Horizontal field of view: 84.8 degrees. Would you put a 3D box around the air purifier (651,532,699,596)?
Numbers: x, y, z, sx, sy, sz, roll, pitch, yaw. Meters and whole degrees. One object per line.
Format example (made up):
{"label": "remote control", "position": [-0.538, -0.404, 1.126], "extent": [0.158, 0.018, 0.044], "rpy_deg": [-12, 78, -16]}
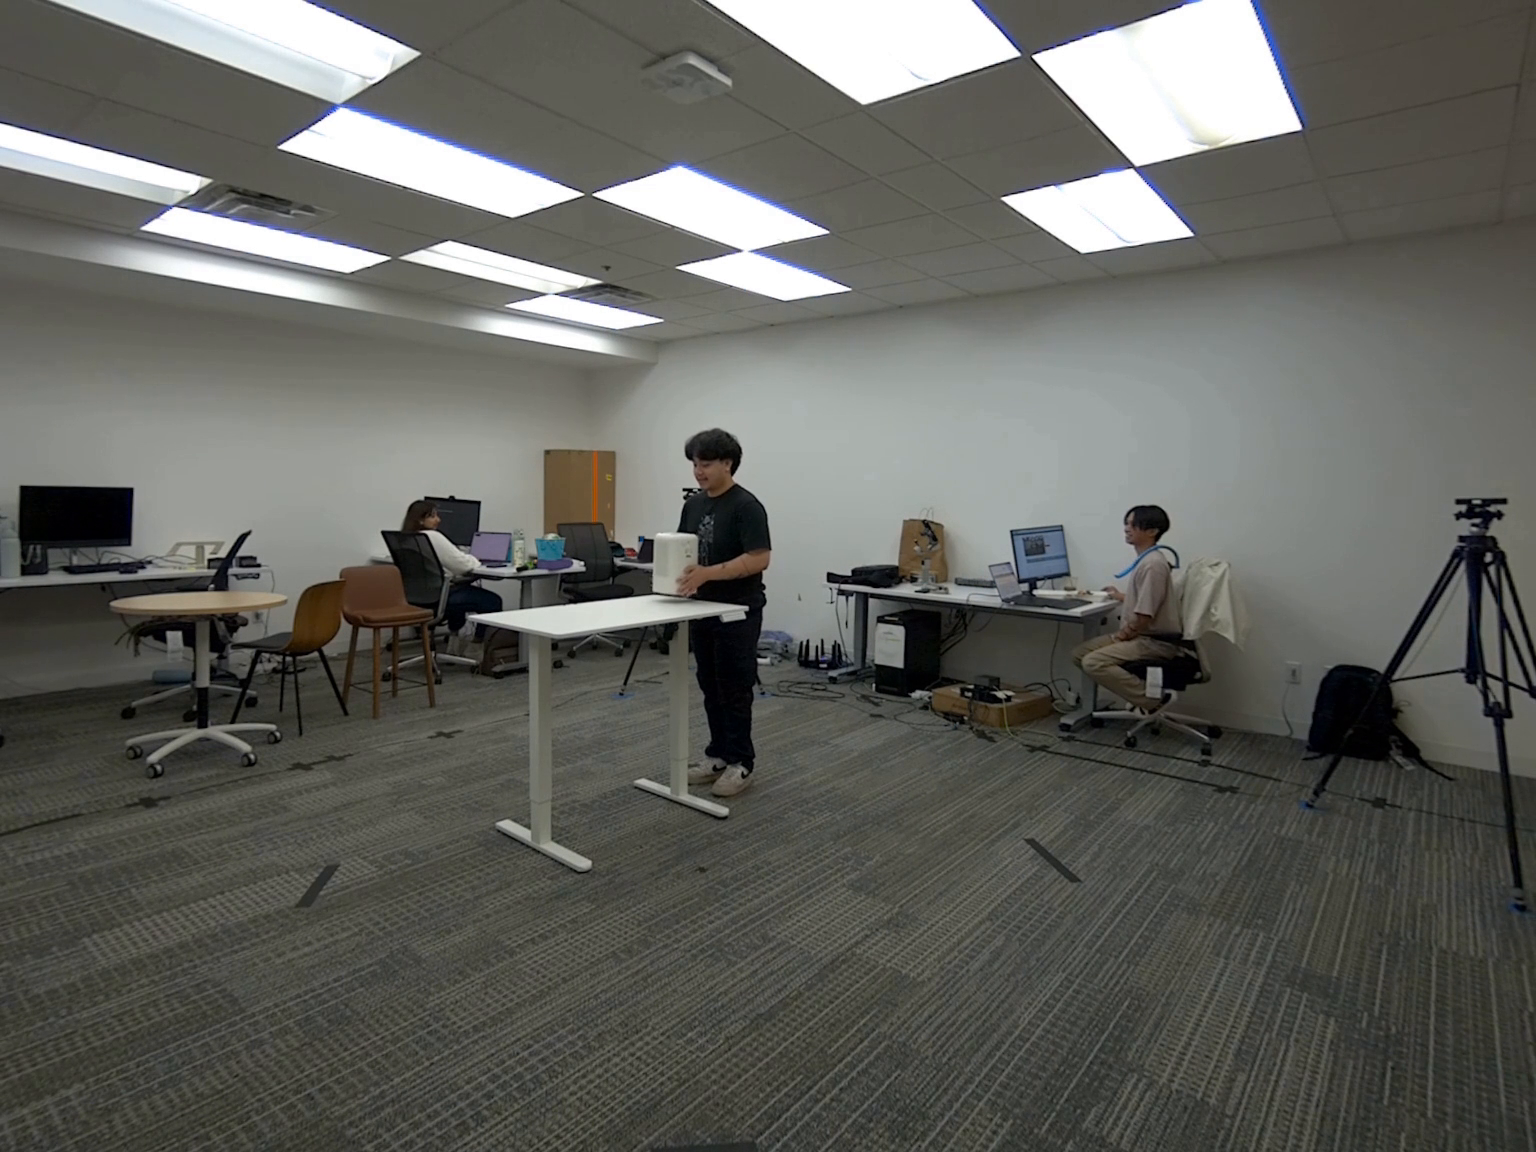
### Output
{"label": "air purifier", "position": [-0.434, -0.065, 3.820], "extent": [0.166, 0.264, 0.177], "rpy_deg": [-4, 7, -44]}
